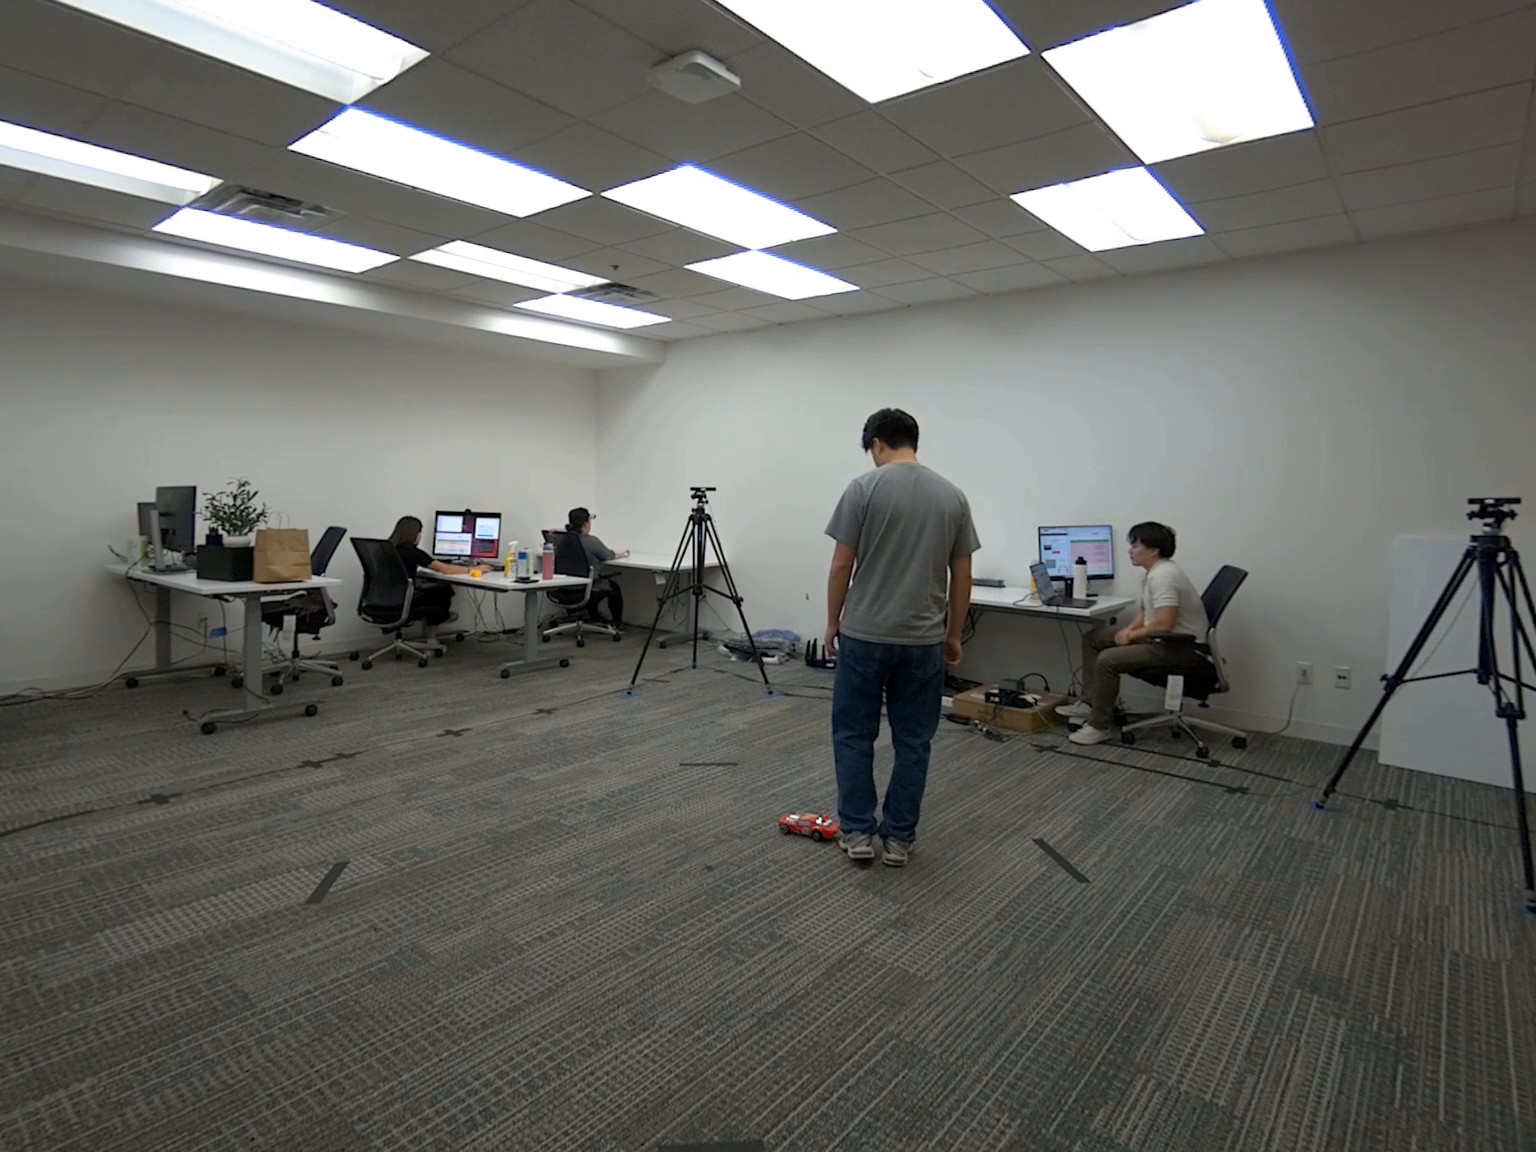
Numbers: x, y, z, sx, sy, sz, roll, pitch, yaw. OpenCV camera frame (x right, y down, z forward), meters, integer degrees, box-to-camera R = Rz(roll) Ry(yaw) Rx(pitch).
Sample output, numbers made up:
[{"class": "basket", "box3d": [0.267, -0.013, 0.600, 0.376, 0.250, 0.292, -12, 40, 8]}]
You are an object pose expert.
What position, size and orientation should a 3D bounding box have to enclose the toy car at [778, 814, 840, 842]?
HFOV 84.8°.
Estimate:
[{"class": "toy car", "box3d": [0.167, 1.007, 3.442, 0.260, 0.083, 0.127, -8, 0, 28]}]
